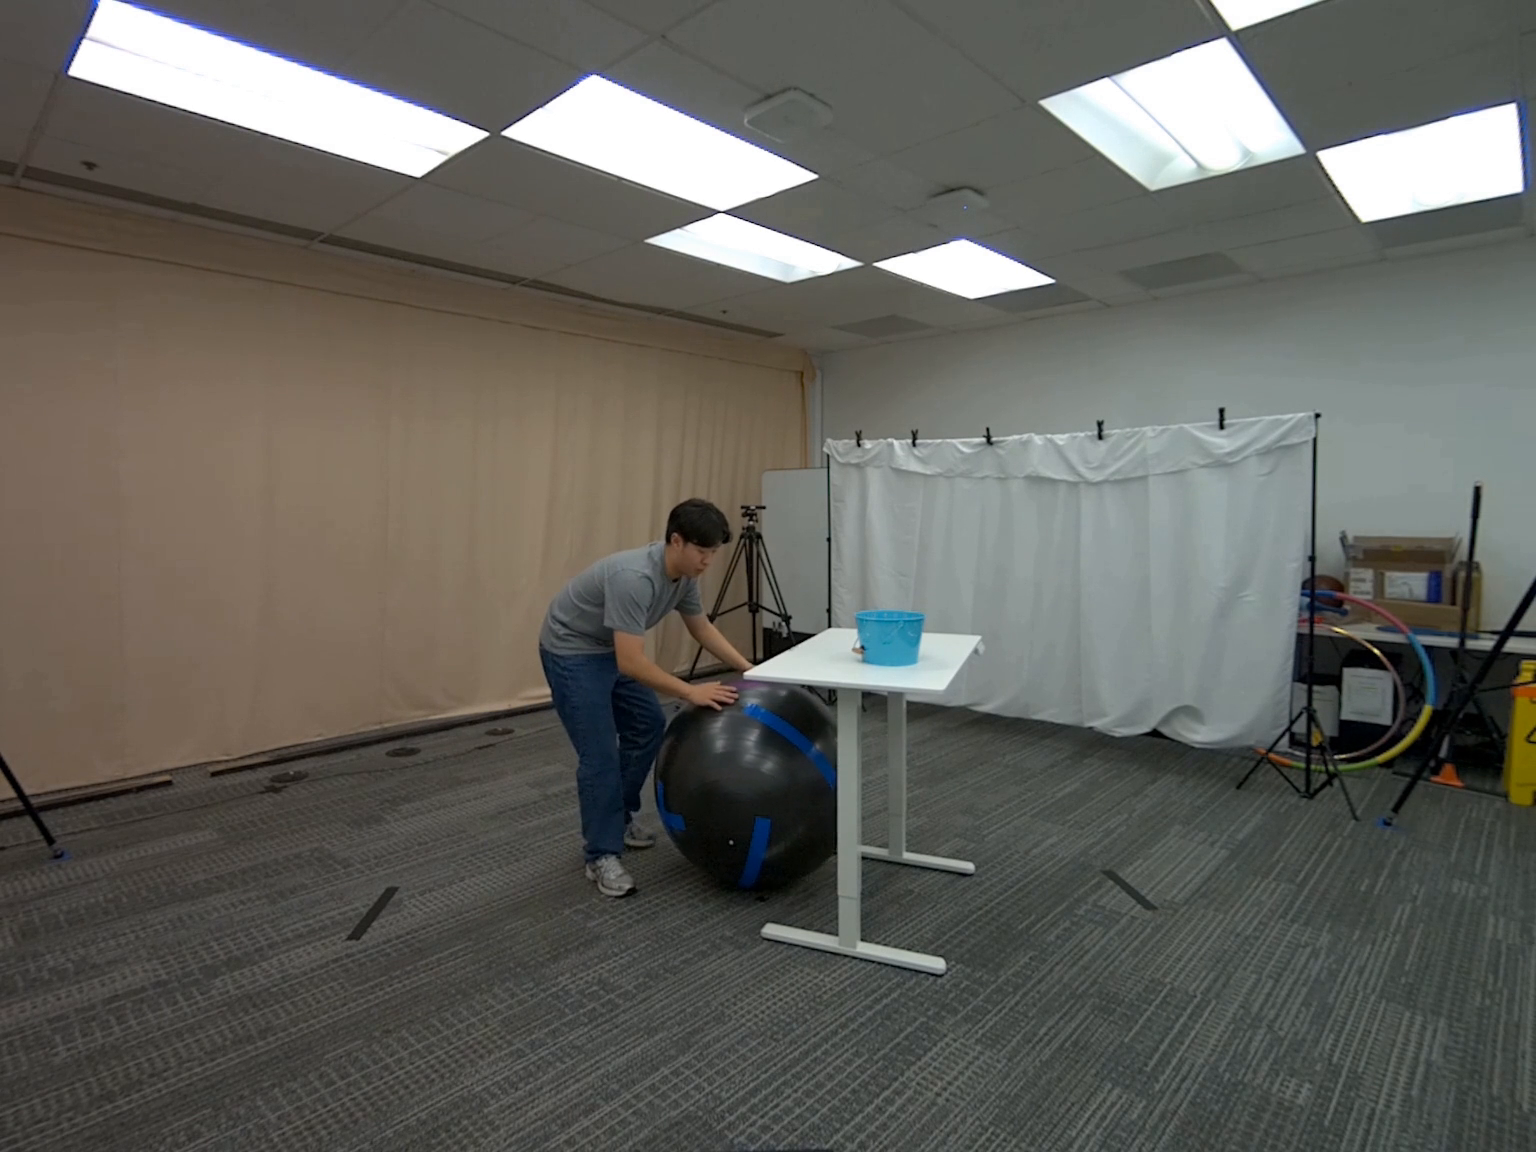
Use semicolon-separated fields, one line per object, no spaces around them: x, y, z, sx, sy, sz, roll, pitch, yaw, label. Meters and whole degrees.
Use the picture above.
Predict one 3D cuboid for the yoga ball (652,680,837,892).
-0.045;0.762;3.149;0.757;0.756;0.760;0;4;-2;yoga ball
